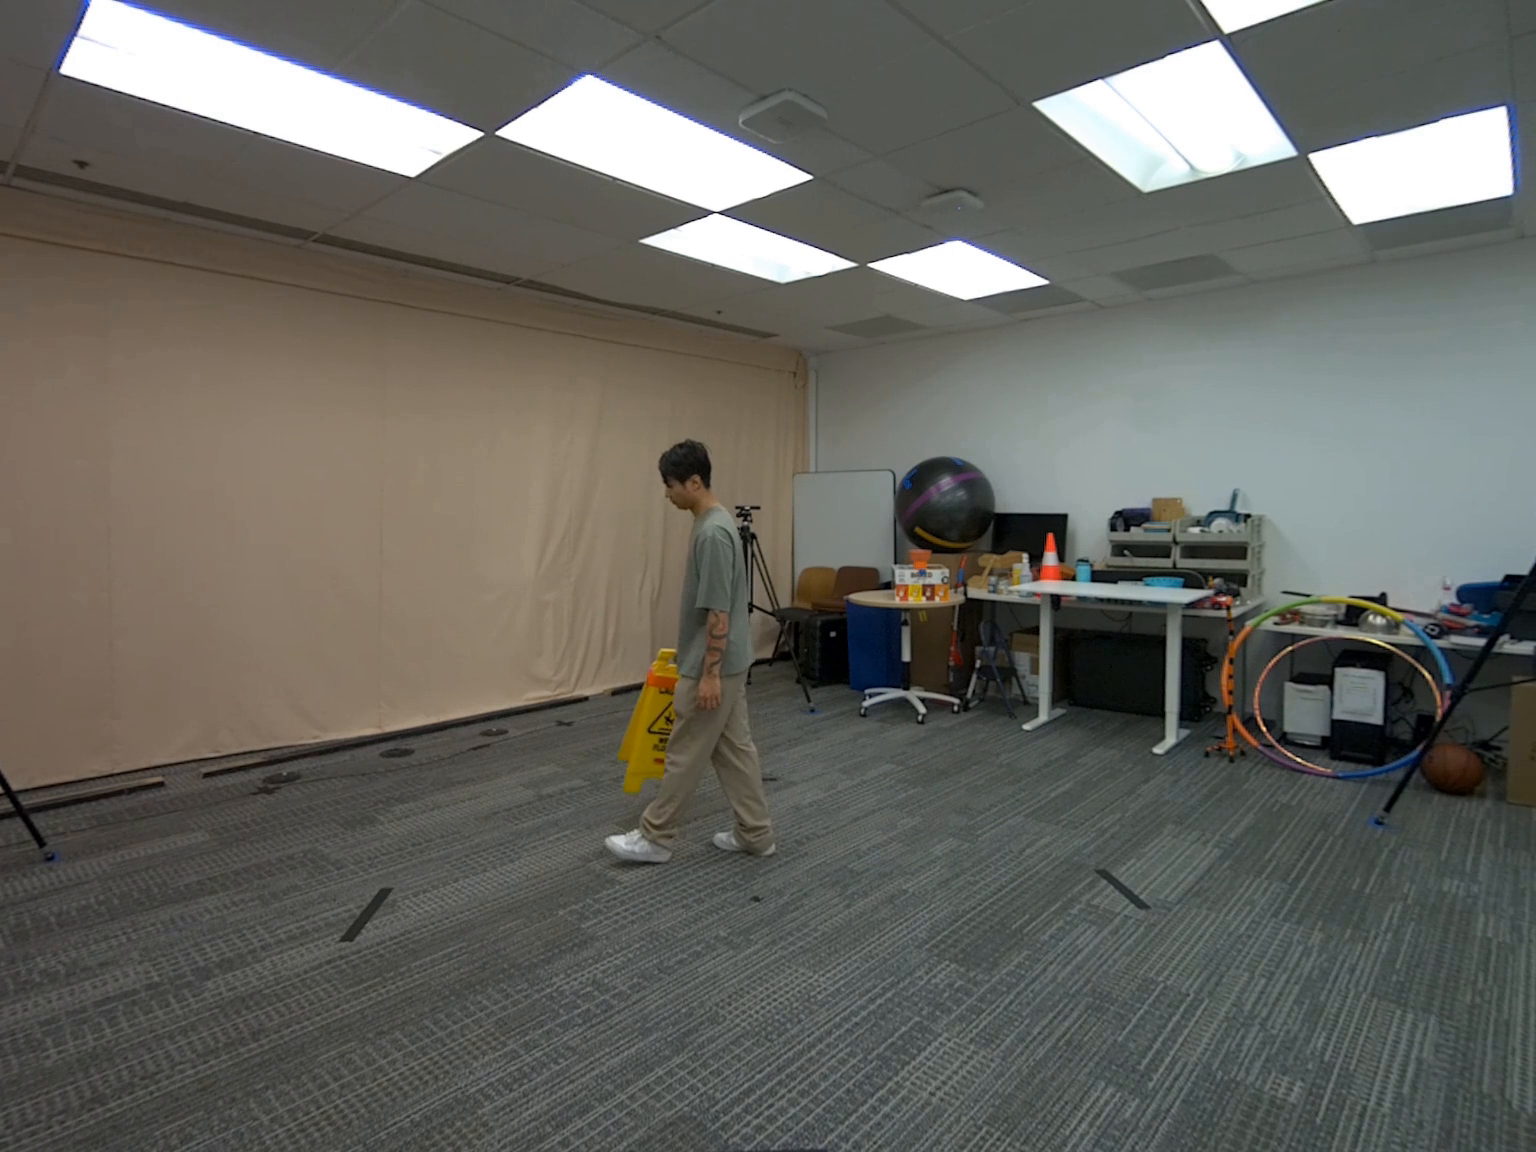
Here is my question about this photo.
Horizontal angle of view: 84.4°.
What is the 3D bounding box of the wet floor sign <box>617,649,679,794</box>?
[{"bbox_3d":[-0.437,0.626,3.707,0.277,0.642,0.296,10,19,-16],"label":"wet floor sign"}]
